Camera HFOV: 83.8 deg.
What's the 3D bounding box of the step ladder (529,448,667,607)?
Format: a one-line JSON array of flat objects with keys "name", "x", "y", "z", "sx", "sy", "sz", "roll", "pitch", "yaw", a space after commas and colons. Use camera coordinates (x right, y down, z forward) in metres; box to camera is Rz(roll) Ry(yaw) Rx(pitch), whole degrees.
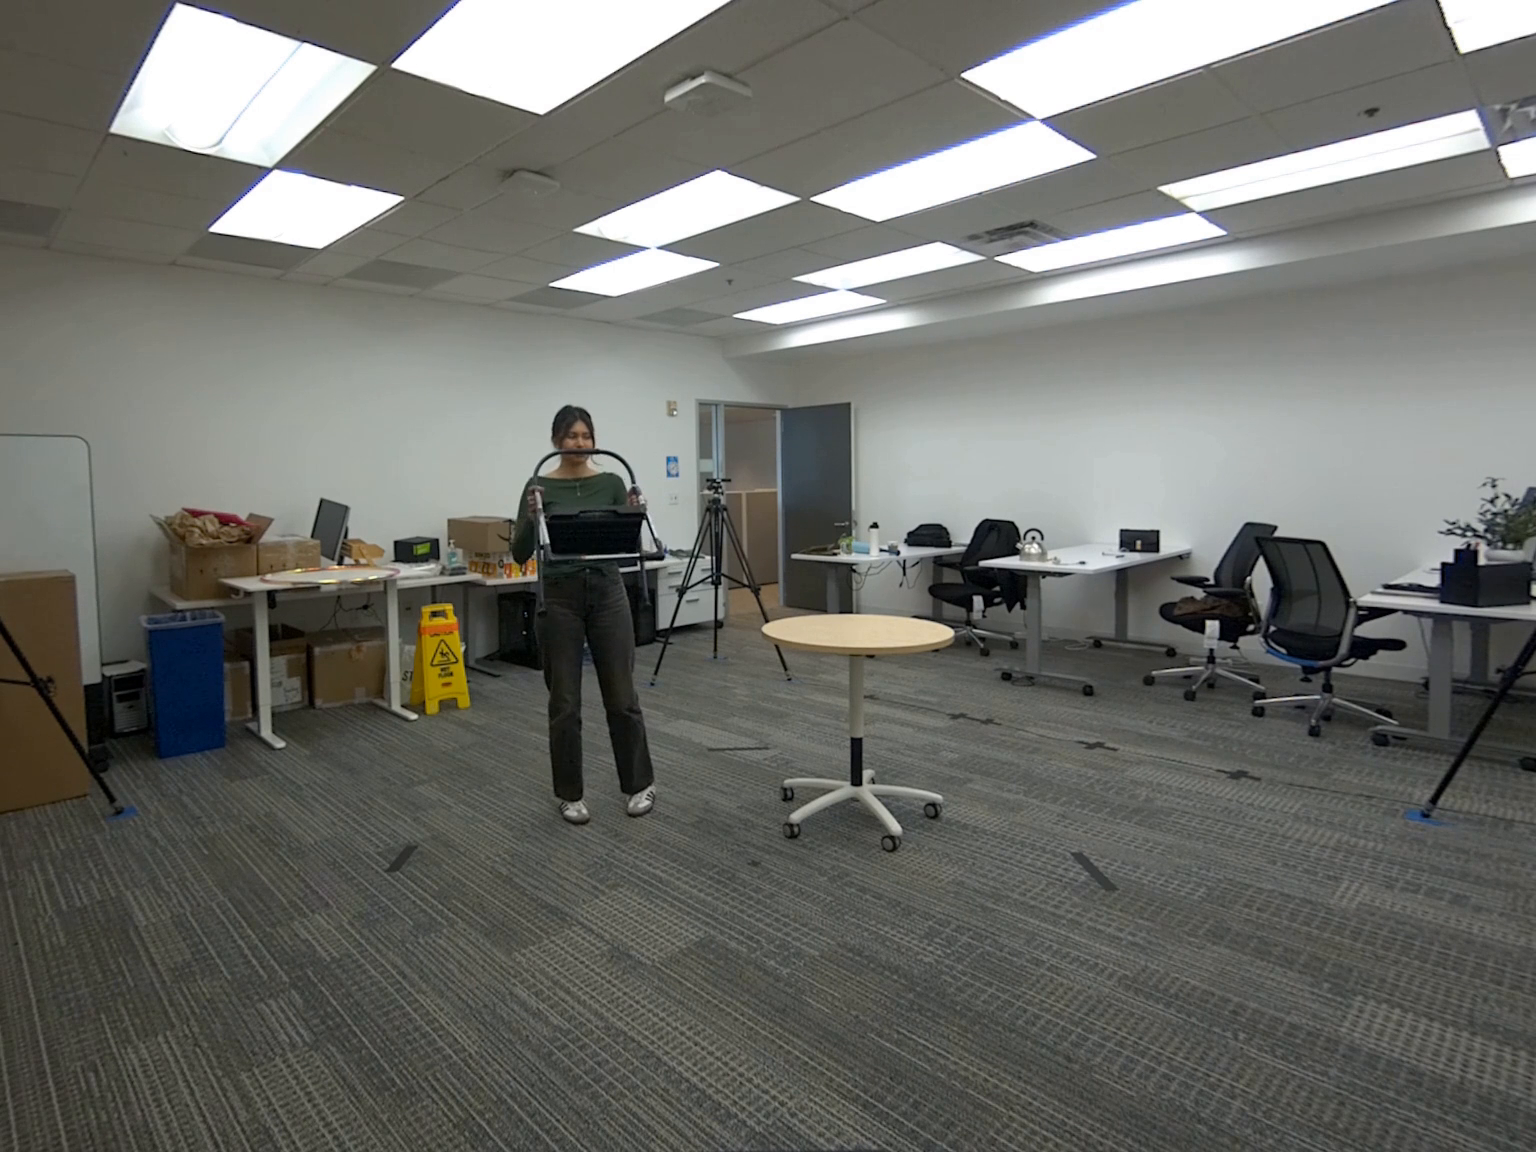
[{"name": "step ladder", "x": -0.674, "y": -0.202, "z": 3.241, "sx": 0.422, "sy": 0.625, "sz": 0.345, "roll": -3, "pitch": -35, "yaw": -23}]
